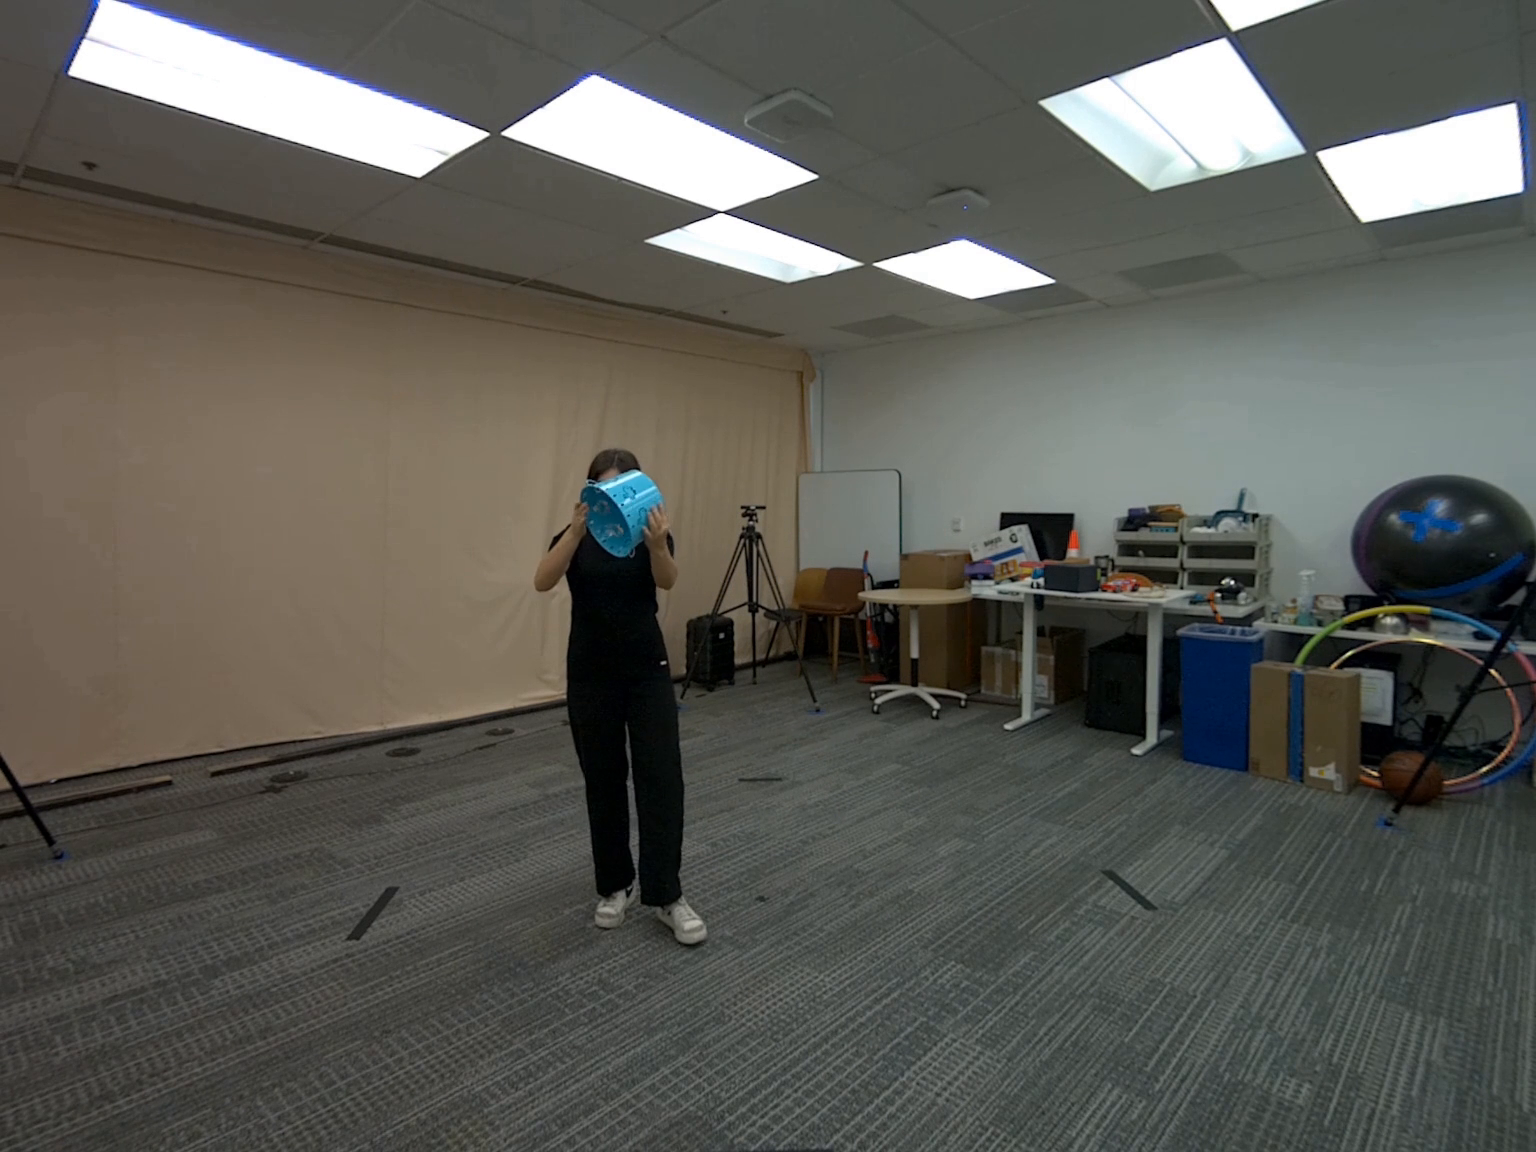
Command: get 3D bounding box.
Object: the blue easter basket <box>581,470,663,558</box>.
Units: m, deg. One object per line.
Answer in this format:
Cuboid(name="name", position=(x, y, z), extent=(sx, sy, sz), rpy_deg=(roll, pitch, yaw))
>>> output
Cuboid(name="blue easter basket", position=(-0.415, -0.193, 2.418), extent=(0.153, 0.239, 0.251), rpy_deg=(-34, 24, -33))
